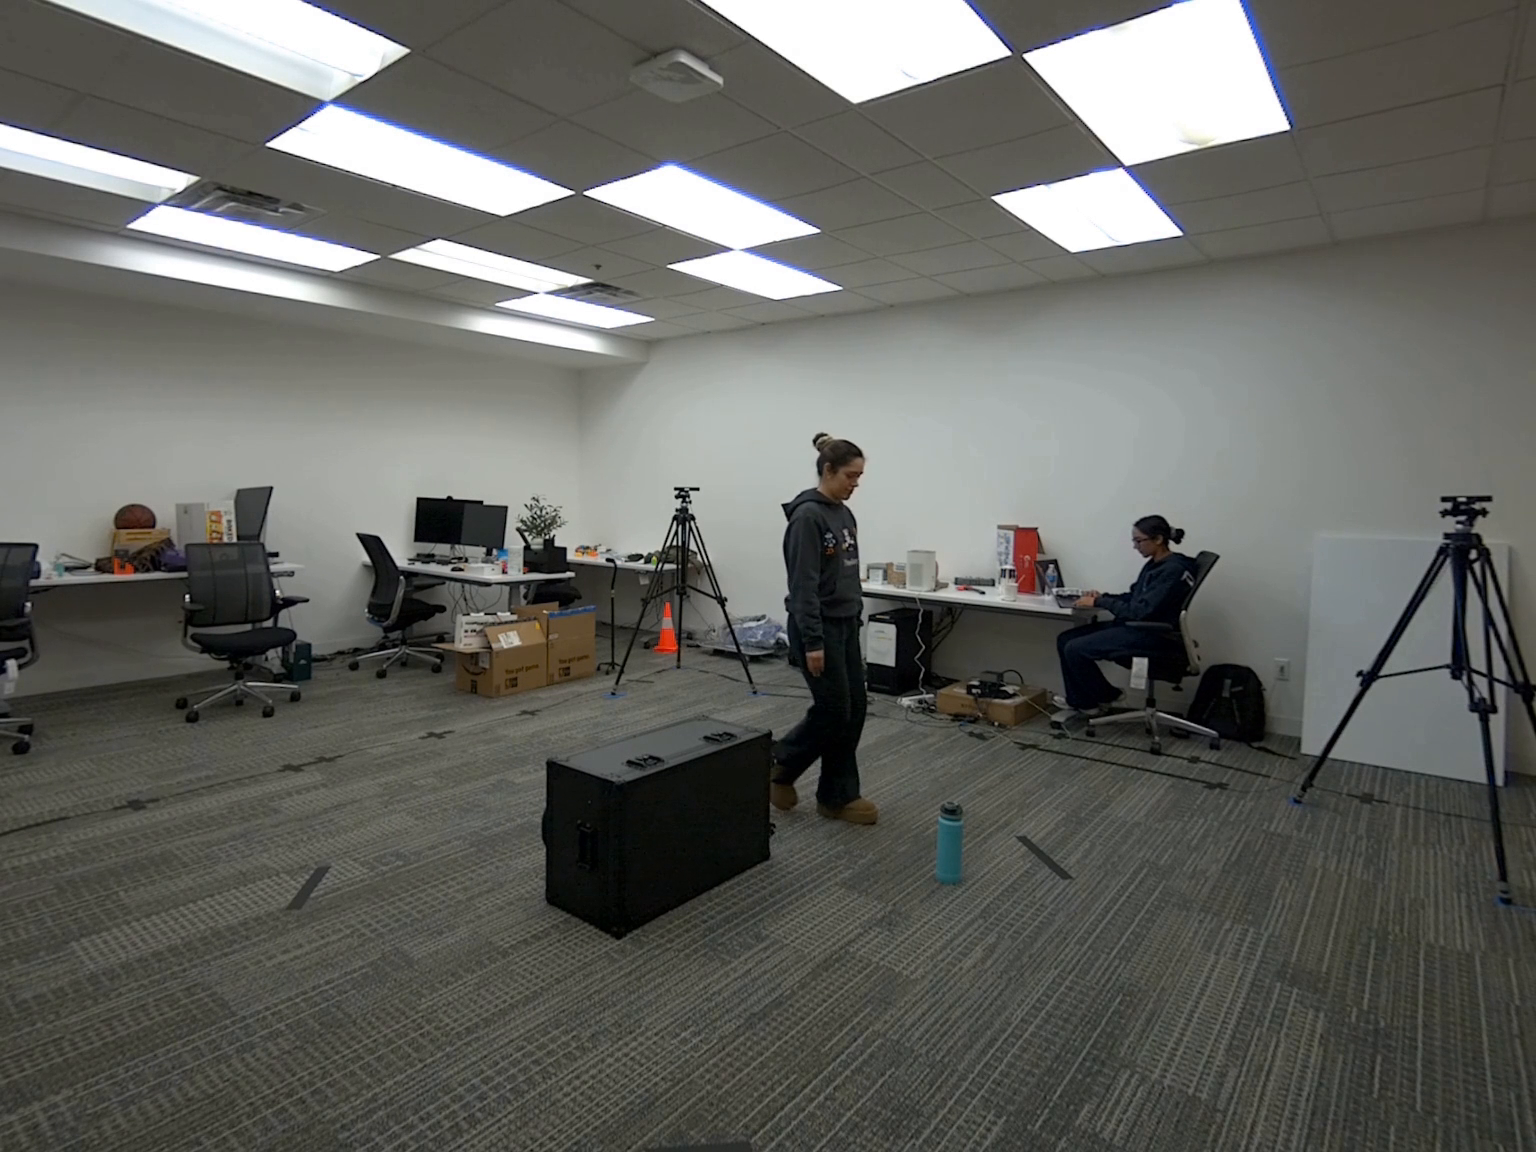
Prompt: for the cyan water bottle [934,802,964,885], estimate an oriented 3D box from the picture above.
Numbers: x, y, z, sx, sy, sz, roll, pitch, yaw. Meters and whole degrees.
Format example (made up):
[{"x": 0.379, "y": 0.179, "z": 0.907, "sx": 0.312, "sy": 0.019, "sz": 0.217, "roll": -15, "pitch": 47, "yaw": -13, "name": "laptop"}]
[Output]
[{"x": 0.663, "y": 0.952, "z": 3.068, "sx": 0.092, "sy": 0.282, "sz": 0.093, "roll": 1, "pitch": 4, "yaw": -2, "name": "cyan water bottle"}]
